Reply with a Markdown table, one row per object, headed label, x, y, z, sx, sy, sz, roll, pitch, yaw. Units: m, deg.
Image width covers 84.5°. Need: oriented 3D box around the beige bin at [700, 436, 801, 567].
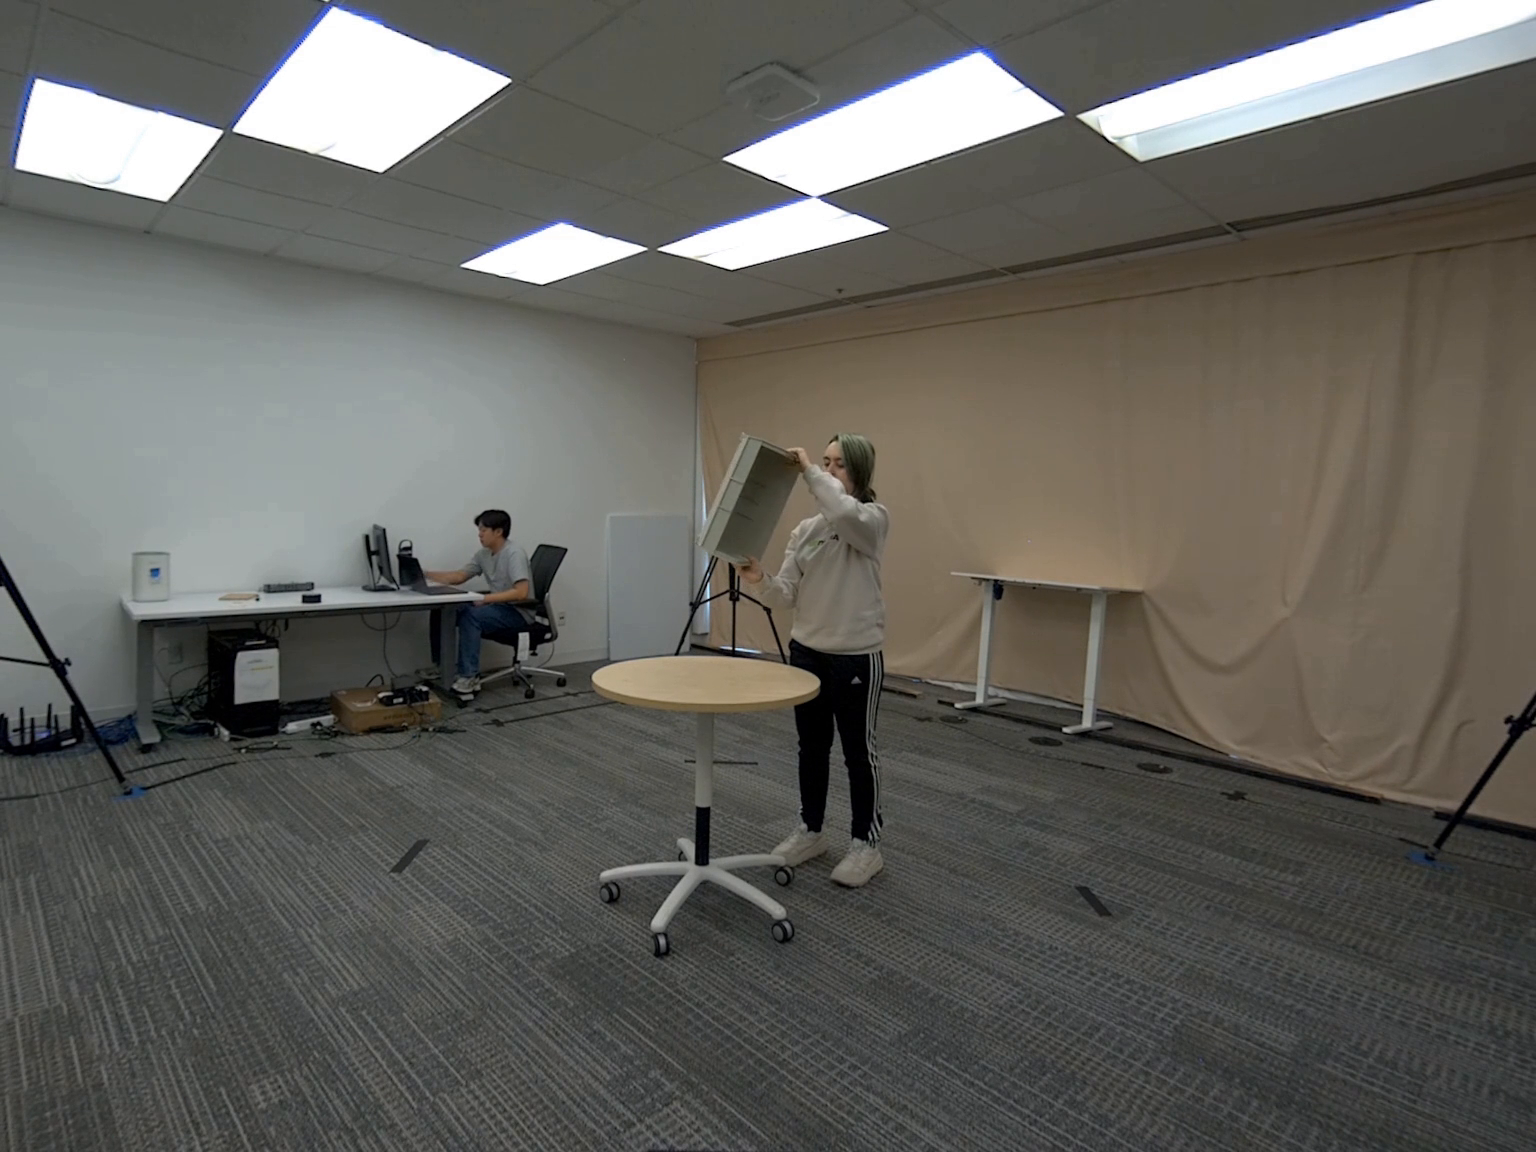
| label | x | y | z | sx | sy | sz | roll | pitch | yaw |
| --- | --- | --- | --- | --- | --- | --- | --- | --- | --- |
| beige bin | -0.059 | -0.260 | 2.965 | 0.191 | 0.421 | 0.374 | 24 | 6 | 9 |
